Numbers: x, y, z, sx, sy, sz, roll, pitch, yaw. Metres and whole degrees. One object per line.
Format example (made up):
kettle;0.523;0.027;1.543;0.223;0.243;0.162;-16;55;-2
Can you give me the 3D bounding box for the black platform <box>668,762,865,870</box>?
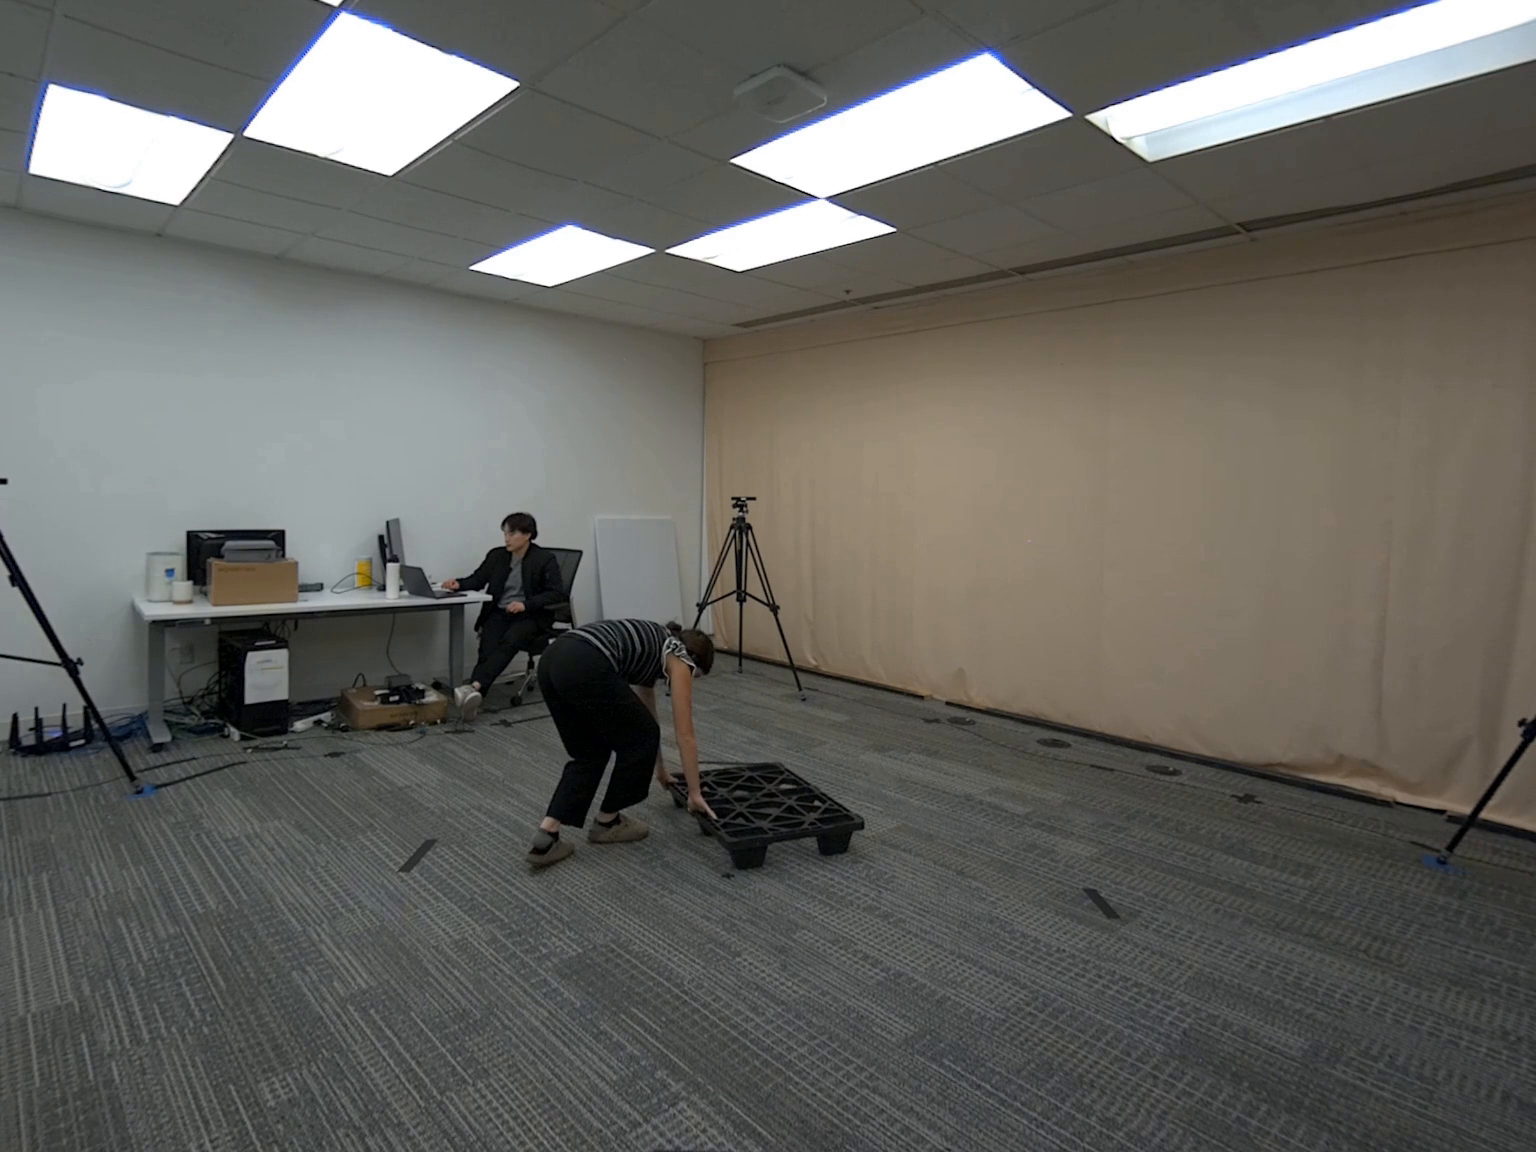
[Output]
black platform;-0.058;0.999;3.574;0.594;0.143;0.822;0;5;-24
